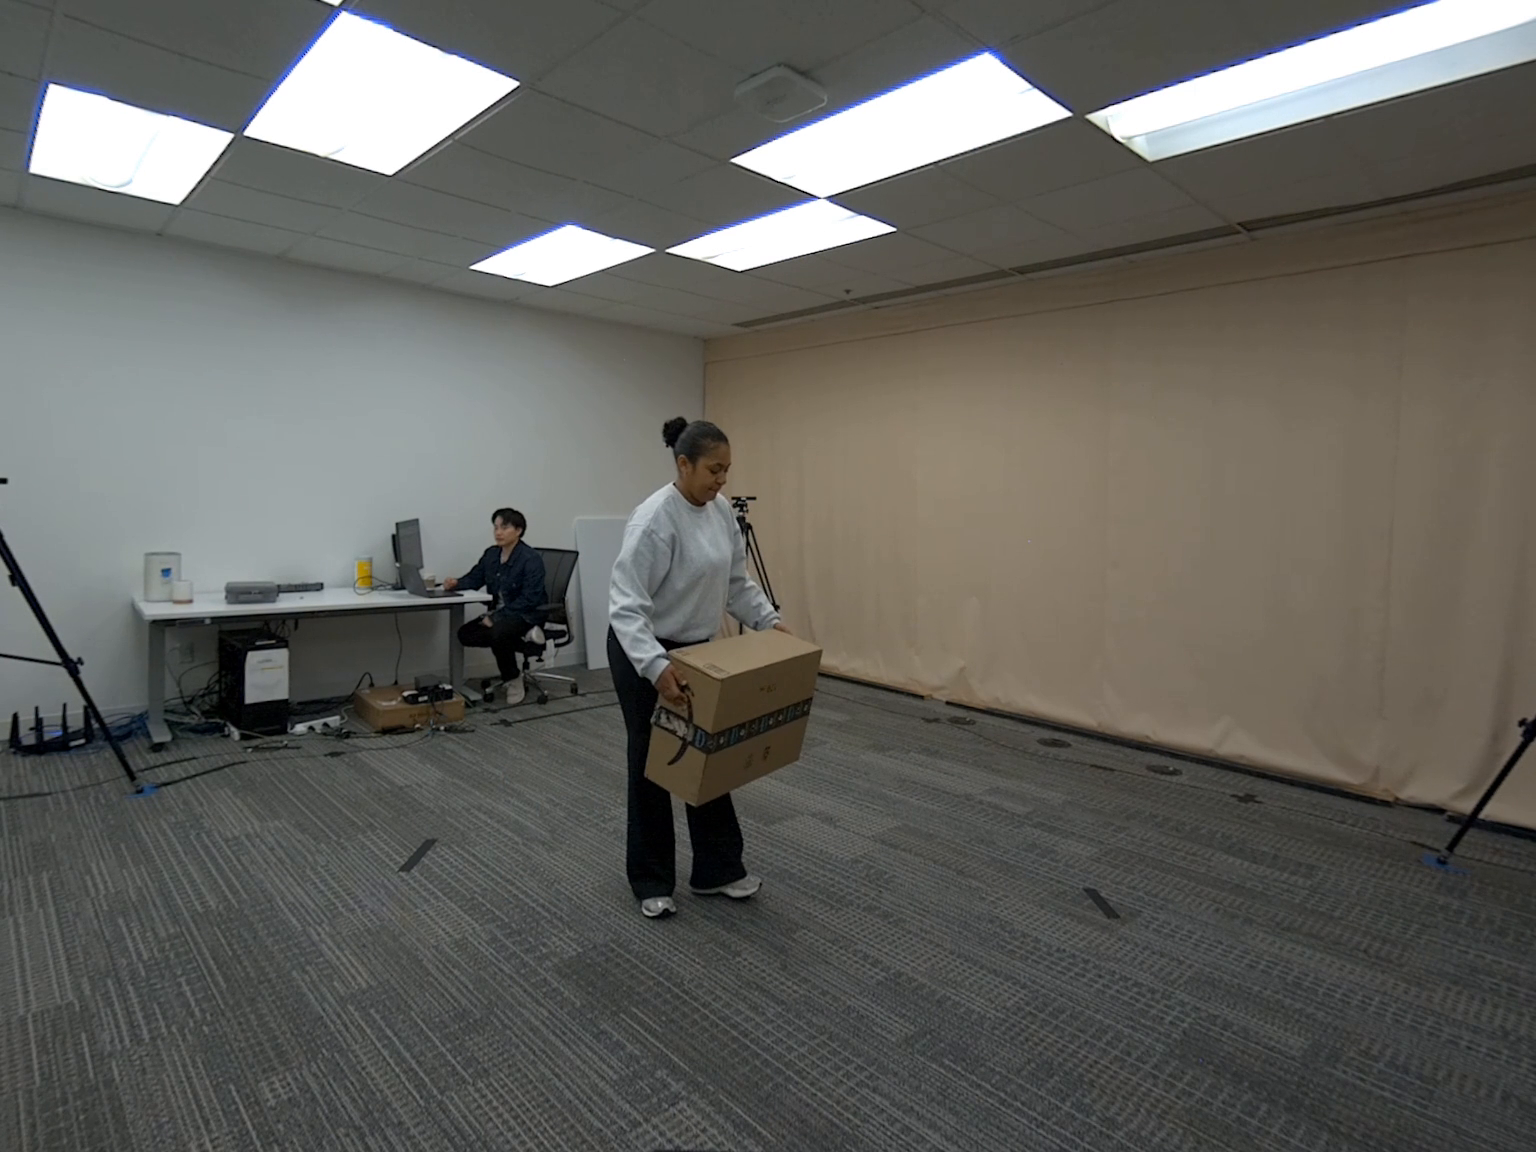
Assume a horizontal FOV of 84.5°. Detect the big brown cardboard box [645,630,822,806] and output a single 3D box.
[{"bbox_3d":[-0.096,0.424,2.702,0.240,0.415,0.576,19,14,35],"label":"big brown cardboard box"}]
